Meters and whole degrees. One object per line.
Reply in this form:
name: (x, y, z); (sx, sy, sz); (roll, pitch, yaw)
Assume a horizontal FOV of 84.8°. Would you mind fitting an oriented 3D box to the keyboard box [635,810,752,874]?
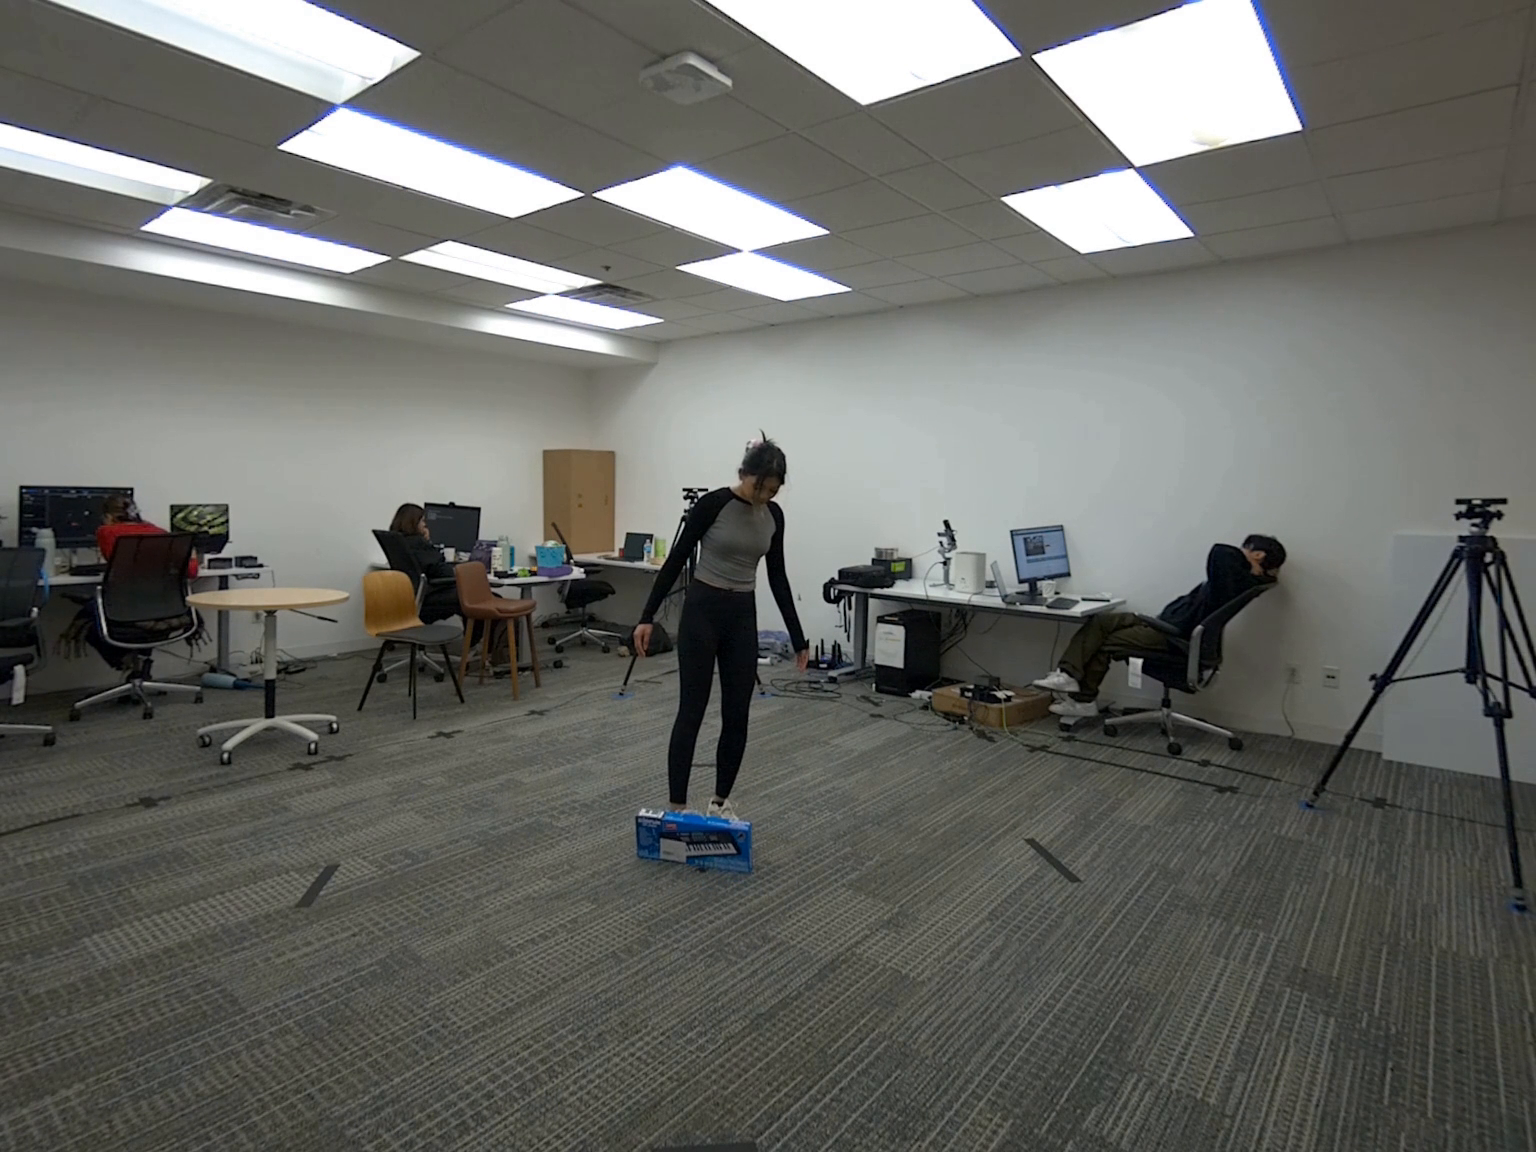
keyboard box: (-0.284, 0.975, 3.152); (0.445, 0.174, 0.059); (2, 12, 17)
